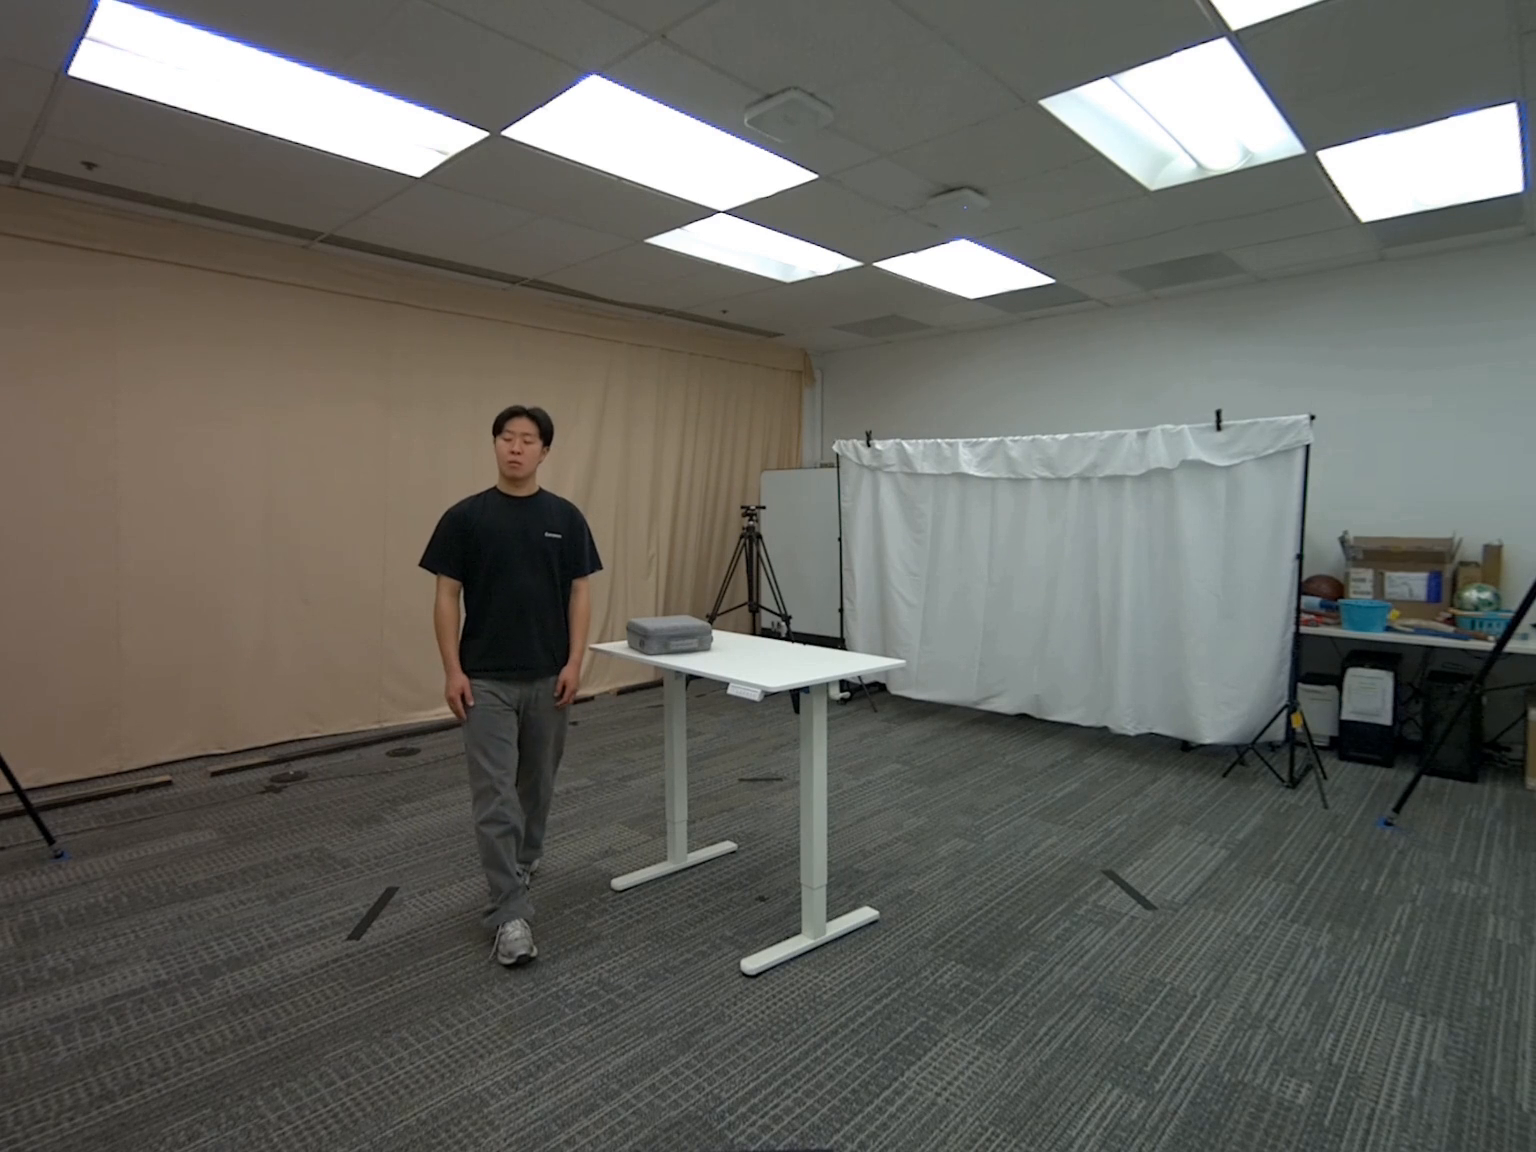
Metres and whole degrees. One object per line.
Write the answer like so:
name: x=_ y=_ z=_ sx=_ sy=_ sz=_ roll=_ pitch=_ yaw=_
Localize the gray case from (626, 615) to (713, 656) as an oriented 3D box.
gray case: x=-0.345 y=0.212 z=3.012 sx=0.257 sy=0.103 sz=0.295 roll=-2 pitch=6 yaw=-26
